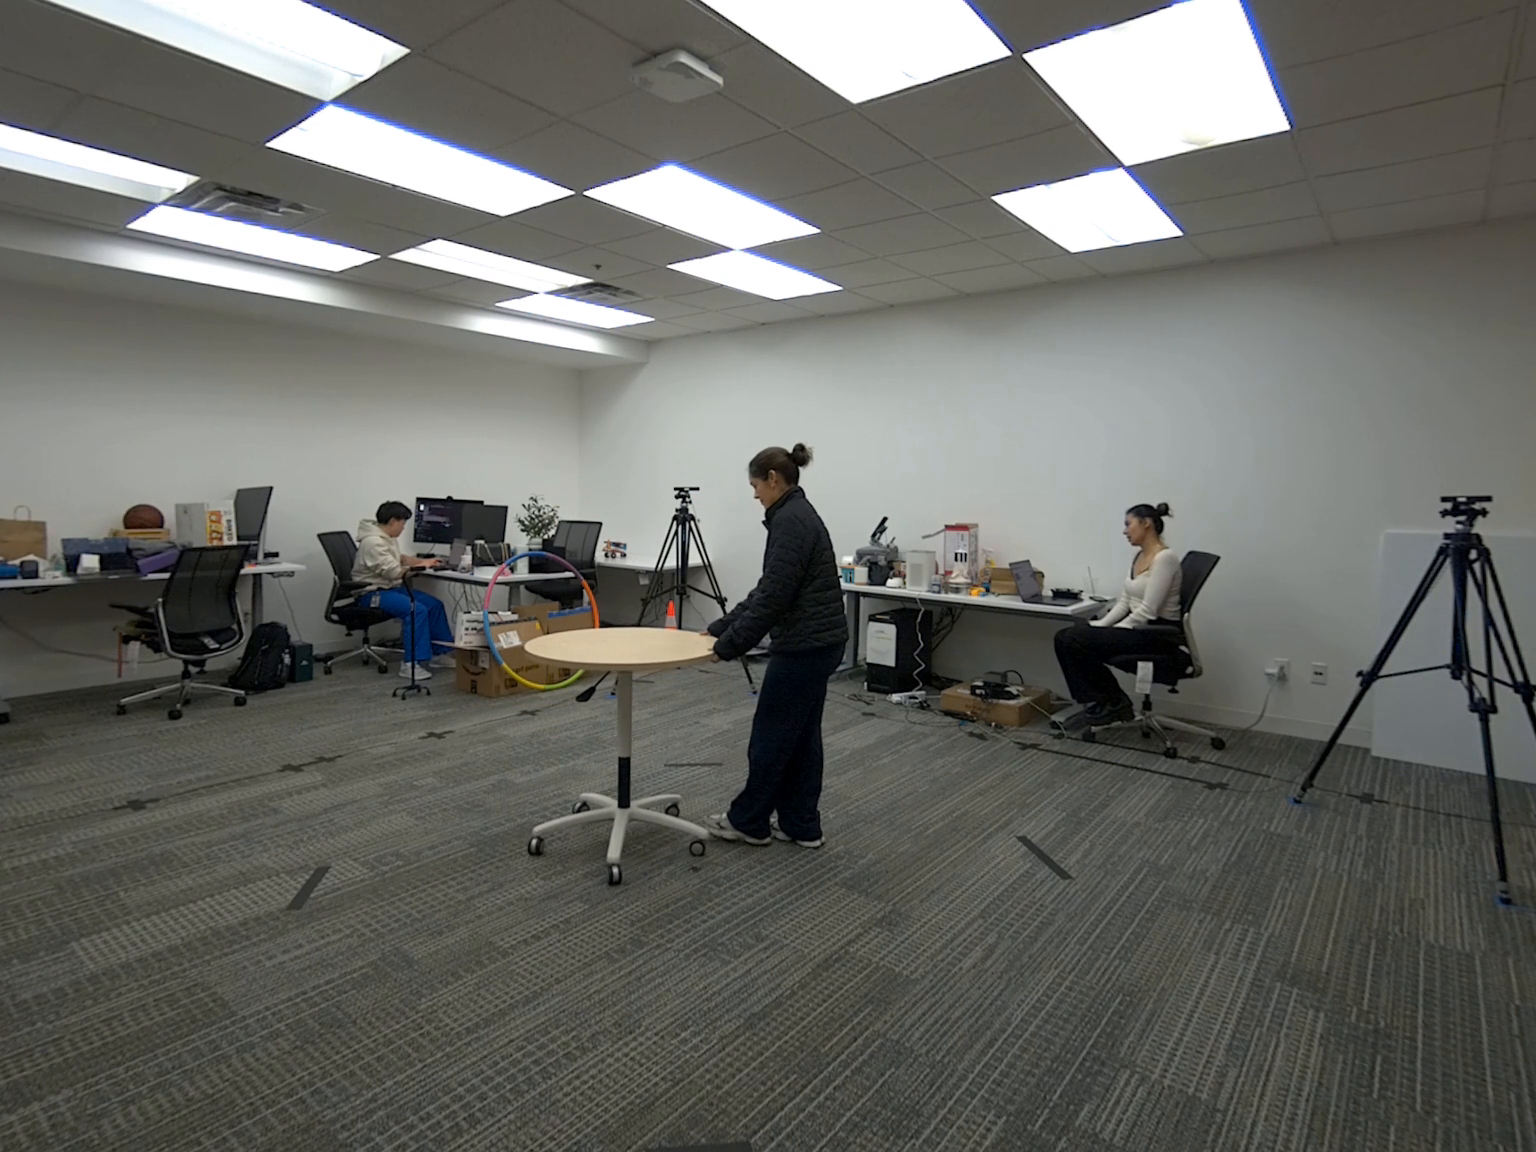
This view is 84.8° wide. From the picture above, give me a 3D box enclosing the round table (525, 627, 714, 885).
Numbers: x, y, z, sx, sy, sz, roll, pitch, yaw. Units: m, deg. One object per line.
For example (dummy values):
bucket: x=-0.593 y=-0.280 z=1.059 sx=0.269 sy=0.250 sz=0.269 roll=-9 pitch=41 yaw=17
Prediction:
round table: x=-0.542 y=0.649 z=3.321 sx=0.784 sy=0.784 sz=0.789 roll=0 pitch=4 yaw=-2
